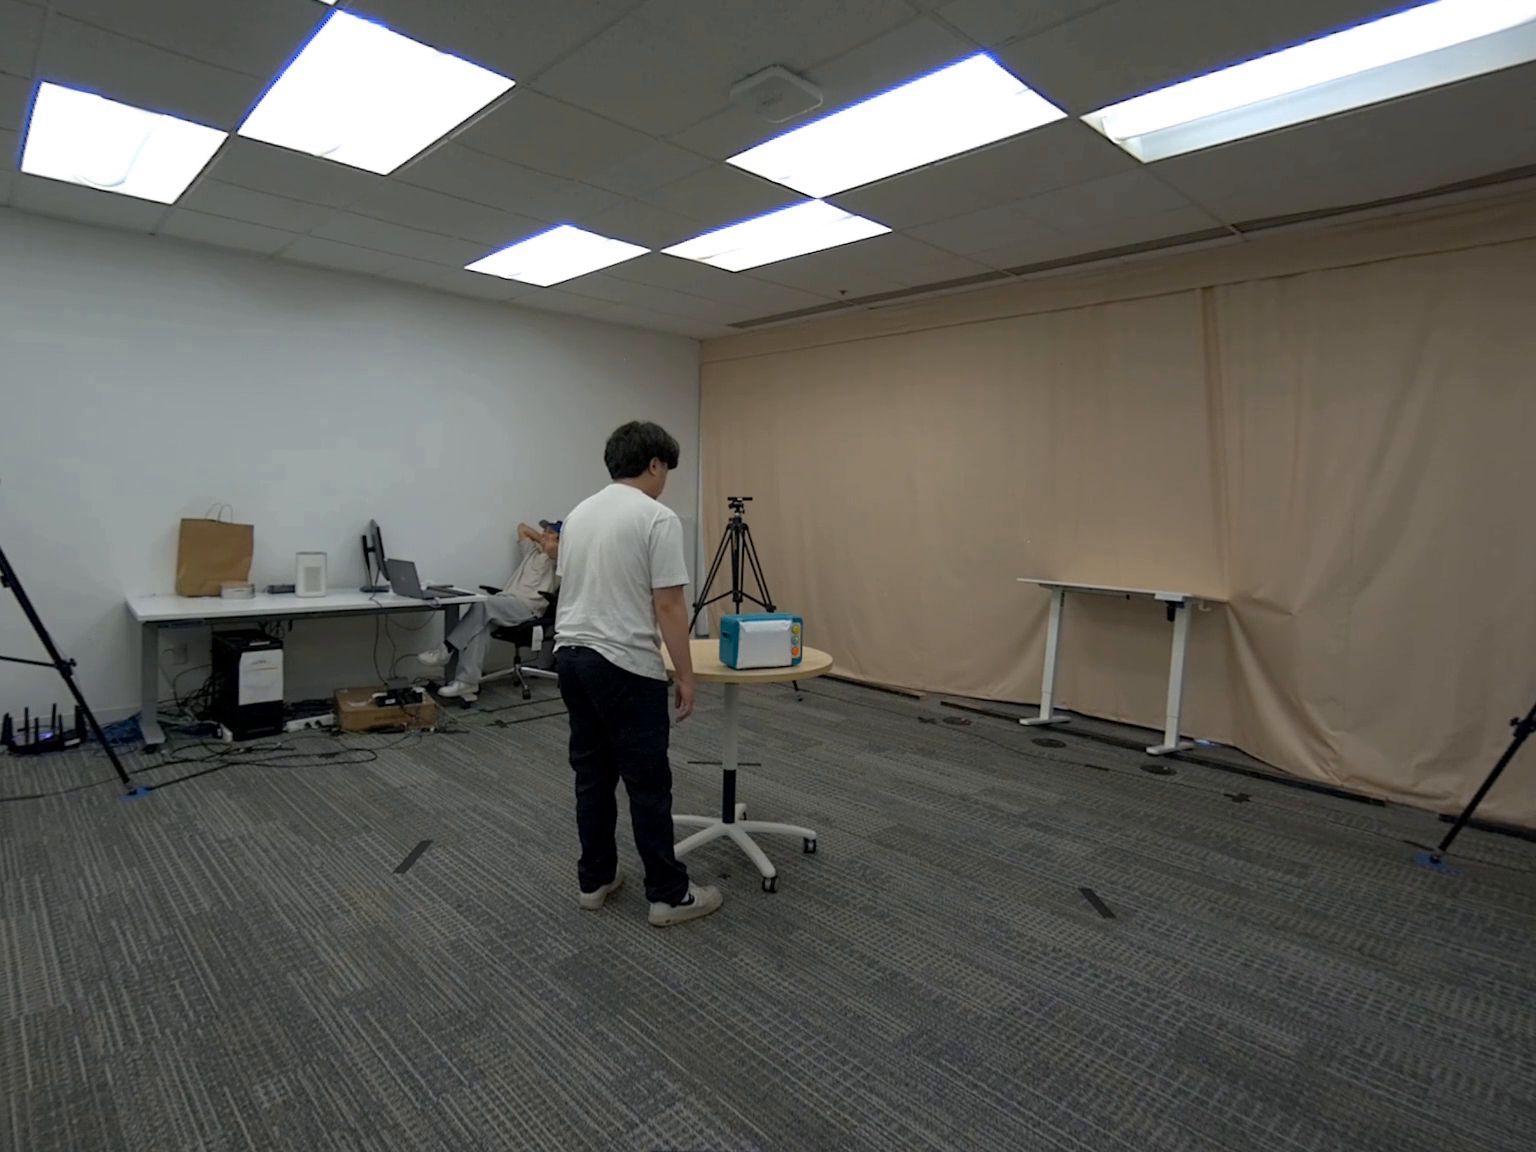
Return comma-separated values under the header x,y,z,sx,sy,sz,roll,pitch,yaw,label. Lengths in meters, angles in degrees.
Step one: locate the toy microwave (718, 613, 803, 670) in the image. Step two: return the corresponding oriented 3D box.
x,y,z,sx,sy,sz,roll,pitch,yaw,label
-0.023,0.234,3.010,0.281,0.184,0.155,-1,3,-27,toy microwave
